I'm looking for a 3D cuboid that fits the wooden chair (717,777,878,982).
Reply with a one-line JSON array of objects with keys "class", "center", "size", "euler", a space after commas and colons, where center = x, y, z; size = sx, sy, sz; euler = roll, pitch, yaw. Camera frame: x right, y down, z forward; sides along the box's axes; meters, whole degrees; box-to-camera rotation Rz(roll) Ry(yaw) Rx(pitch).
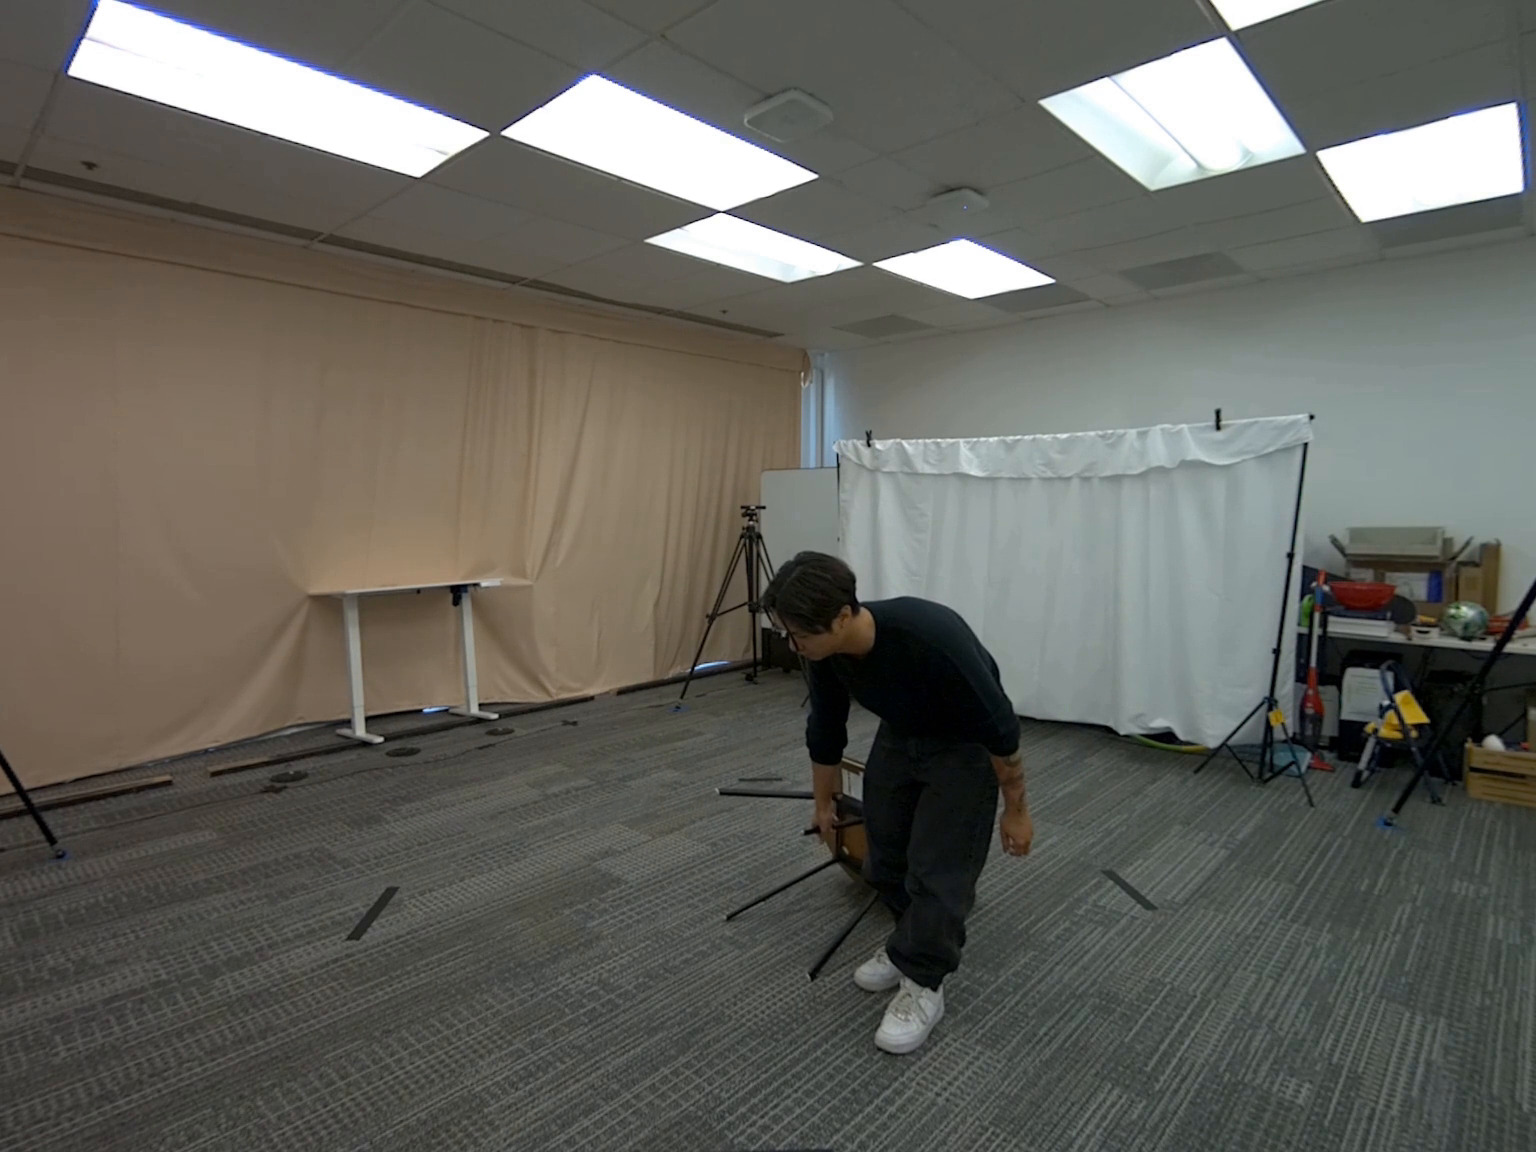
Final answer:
[{"class": "wooden chair", "center": [0.323, 0.890, 2.860], "size": [0.851, 0.522, 0.493], "euler": [-1, 4, -35]}]
